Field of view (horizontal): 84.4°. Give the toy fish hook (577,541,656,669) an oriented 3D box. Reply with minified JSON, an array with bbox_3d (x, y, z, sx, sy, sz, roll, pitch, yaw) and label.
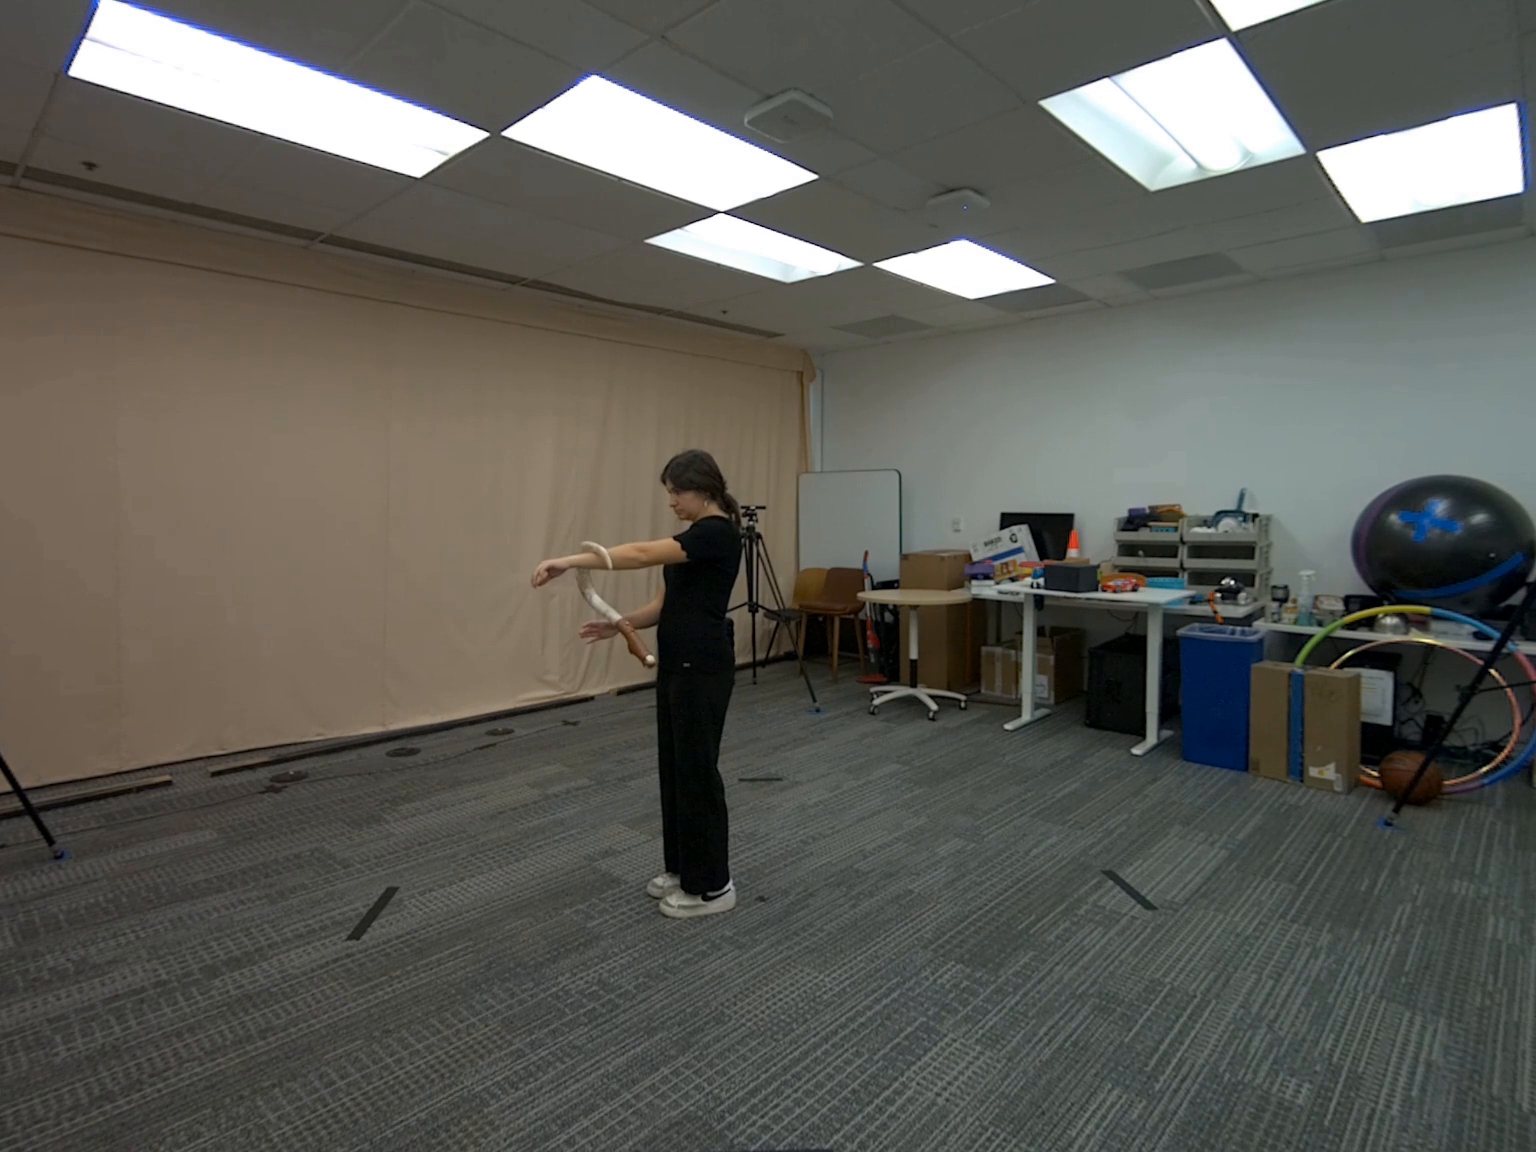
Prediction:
[{"bbox_3d":[-0.481,0.084,2.621,0.047,0.222,0.524,-15,45,-33],"label":"toy fish hook"}]
